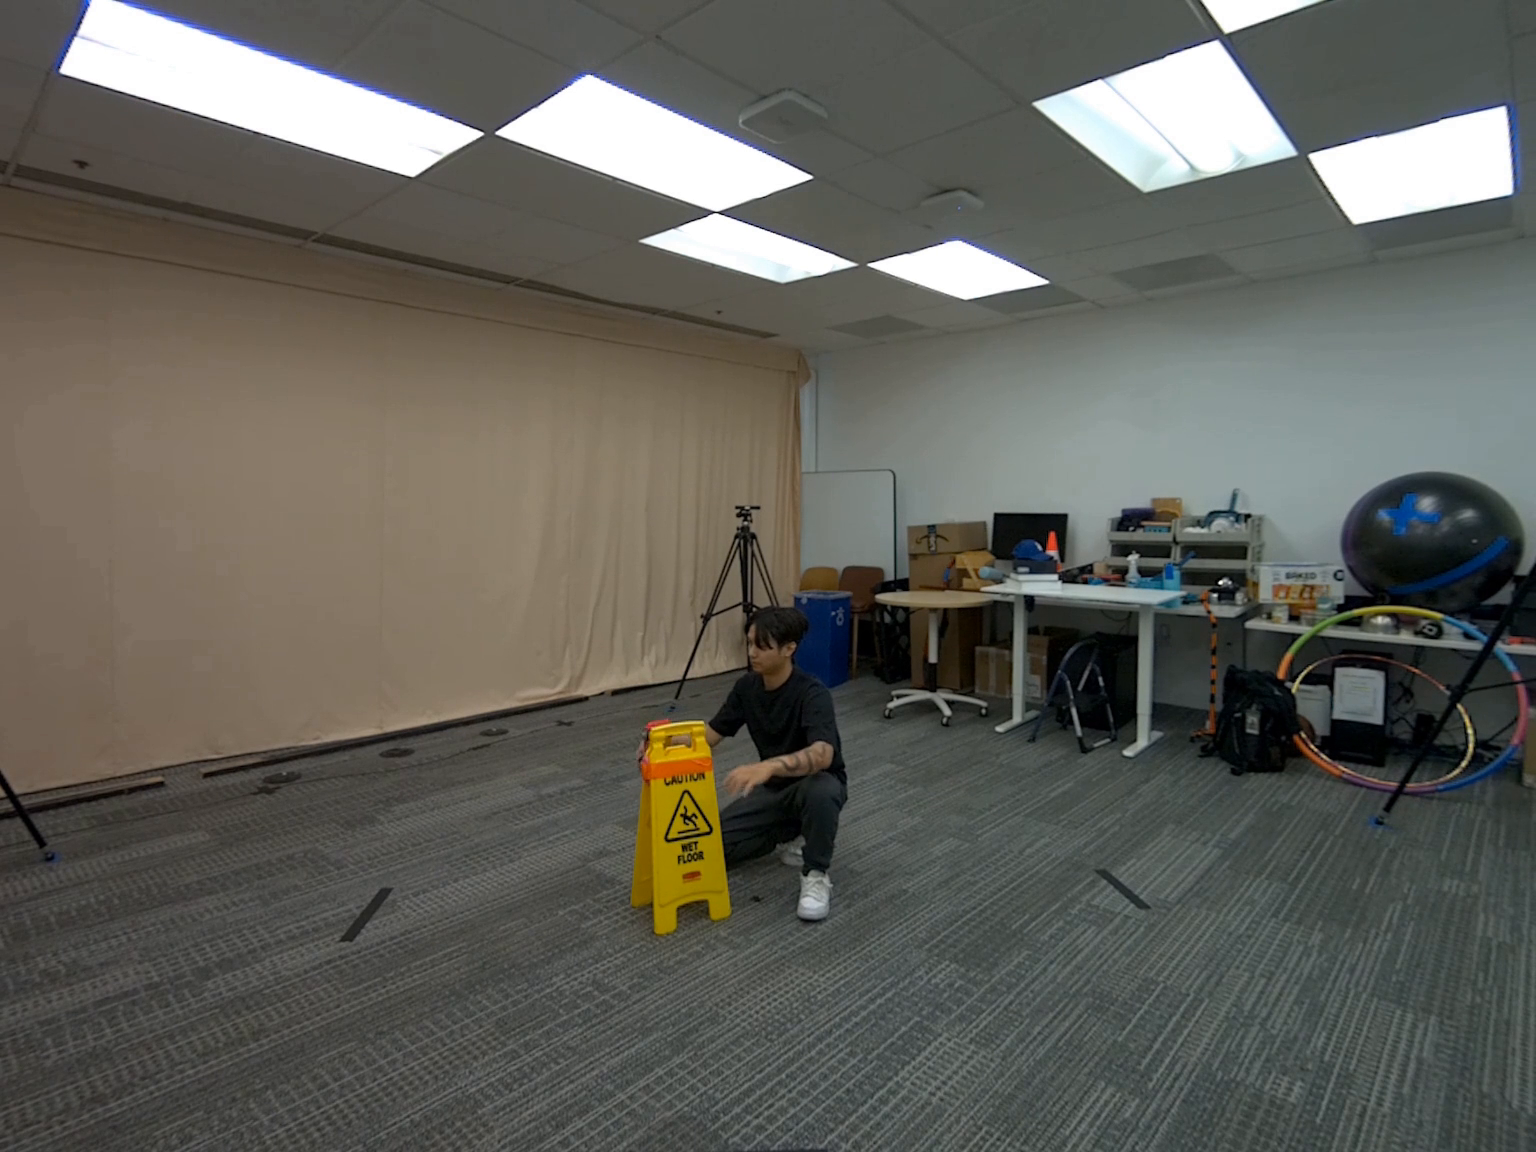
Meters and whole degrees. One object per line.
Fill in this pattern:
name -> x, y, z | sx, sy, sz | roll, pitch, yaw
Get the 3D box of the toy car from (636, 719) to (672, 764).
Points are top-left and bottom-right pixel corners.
toy car -> -0.400, 0.635, 3.028 | 0.127, 0.252, 0.086 | -4, 43, -26
